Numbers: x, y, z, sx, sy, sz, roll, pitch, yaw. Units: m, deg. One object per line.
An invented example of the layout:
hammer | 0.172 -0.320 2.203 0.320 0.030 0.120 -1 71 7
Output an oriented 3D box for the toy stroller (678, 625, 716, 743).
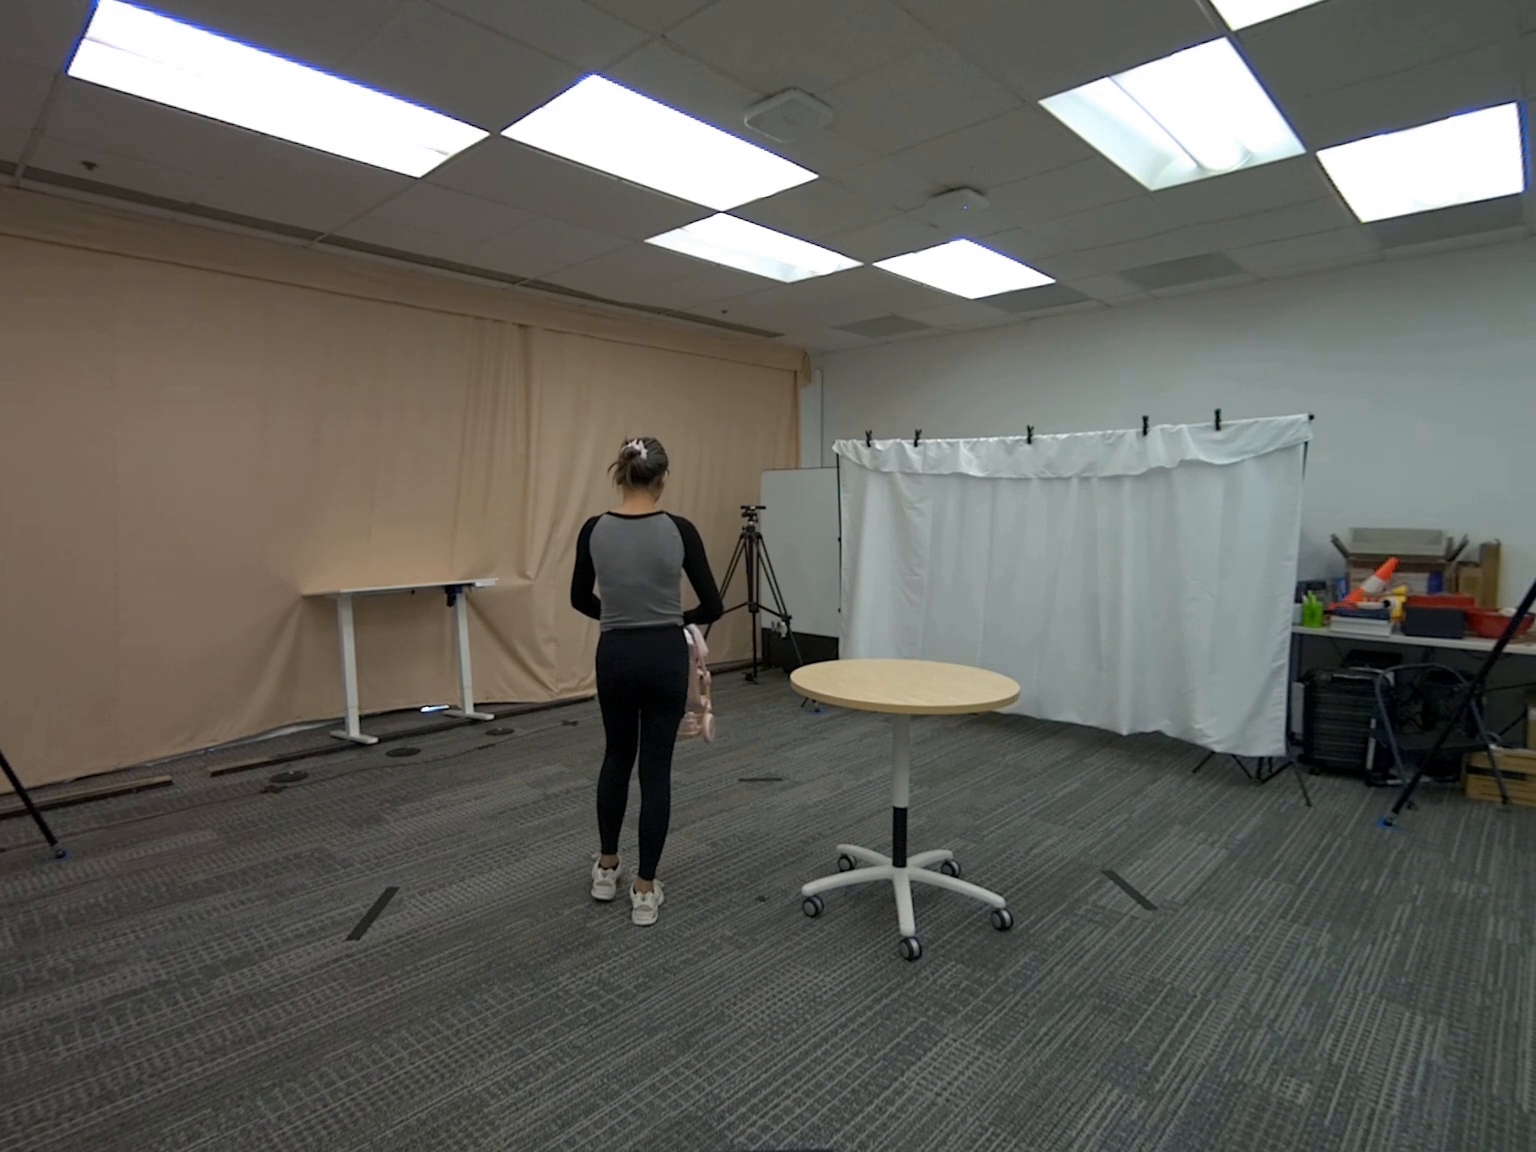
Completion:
toy stroller | -0.337 0.410 3.280 0.286 0.533 0.337 -4 5 14
